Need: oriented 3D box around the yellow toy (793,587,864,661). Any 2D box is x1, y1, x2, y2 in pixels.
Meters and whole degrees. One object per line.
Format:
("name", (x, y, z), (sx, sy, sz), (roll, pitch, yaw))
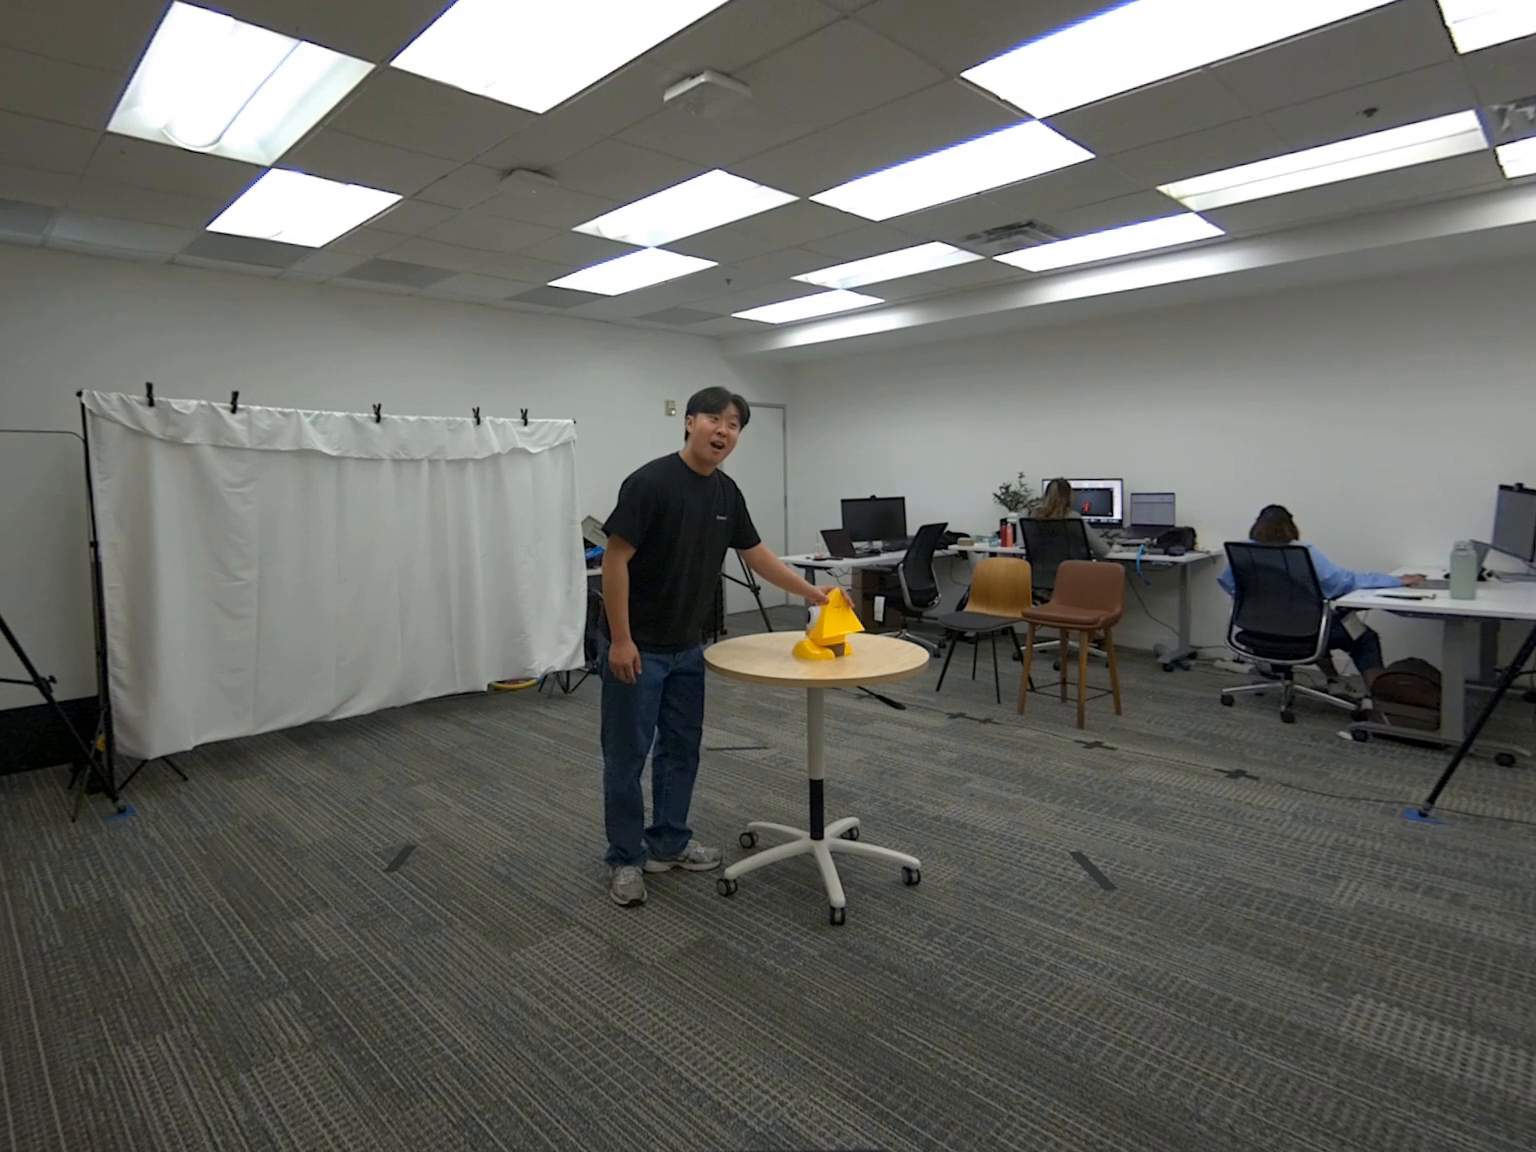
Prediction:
("yellow toy", (0.194, 0.151, 2.897), (0.199, 0.229, 0.199), (-6, 7, -41))
